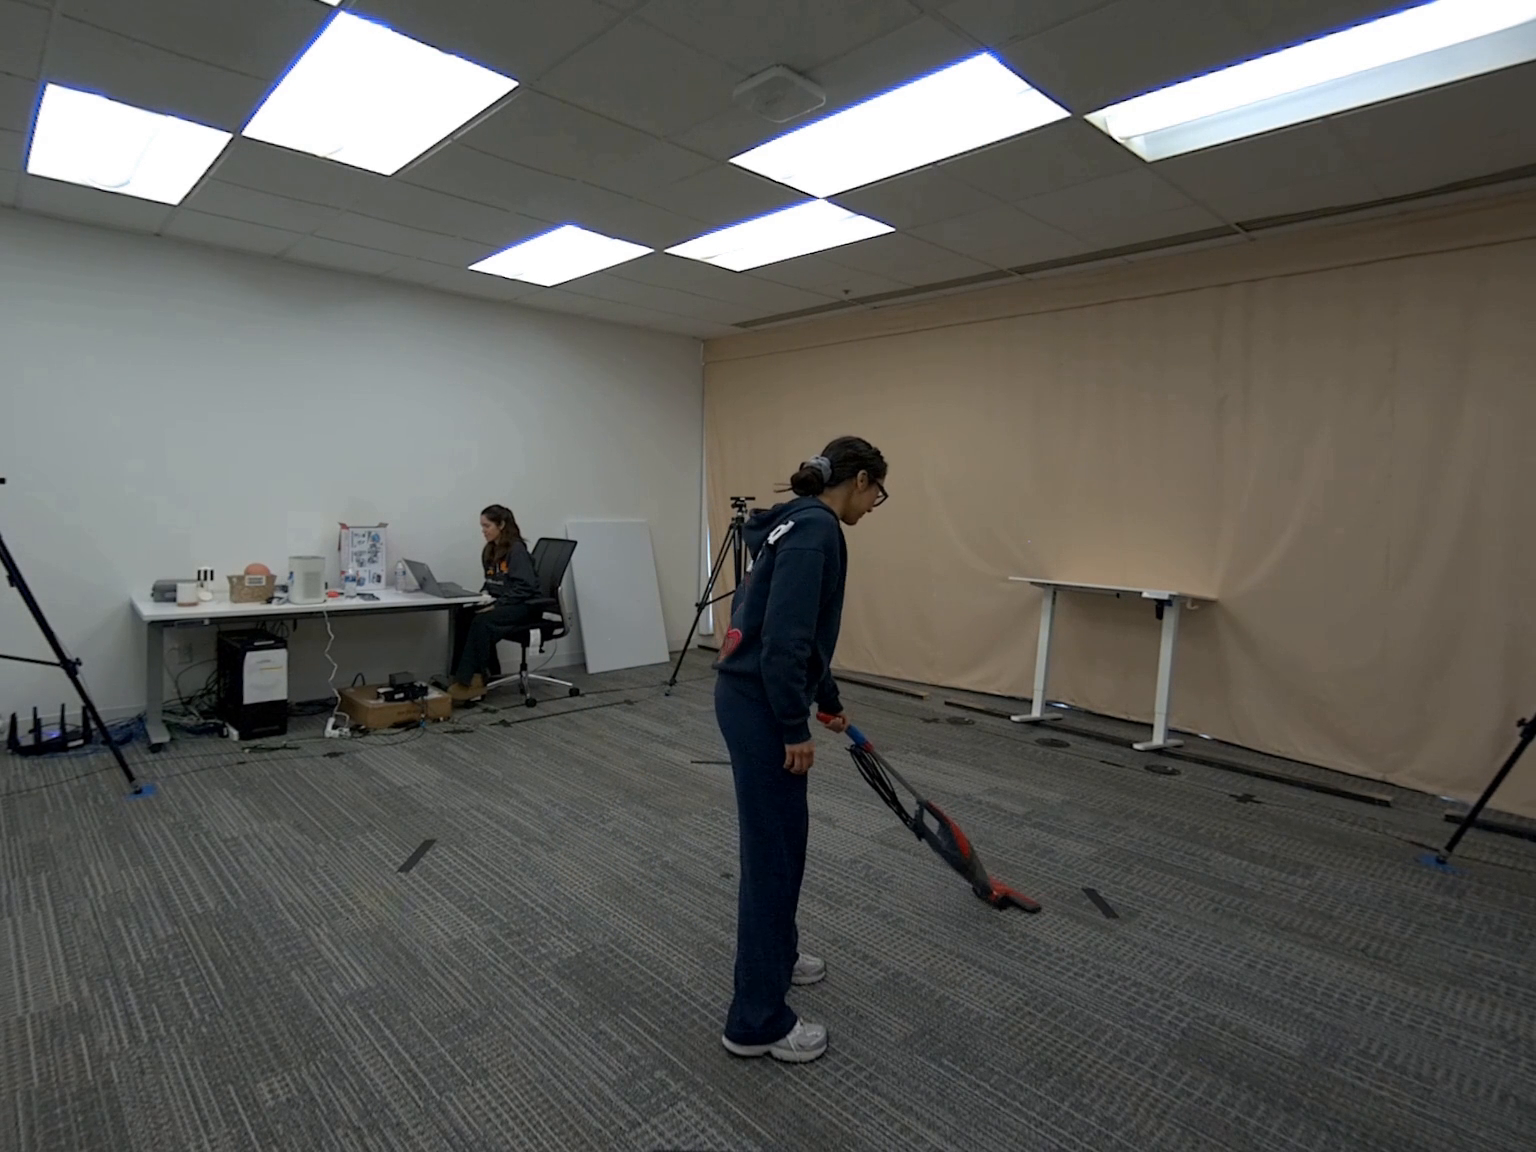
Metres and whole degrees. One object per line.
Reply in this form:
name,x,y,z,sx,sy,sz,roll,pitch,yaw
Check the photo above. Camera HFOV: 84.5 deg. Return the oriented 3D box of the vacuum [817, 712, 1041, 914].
vacuum,0.480,0.785,2.792,1.026,0.144,0.257,46,-24,-22
